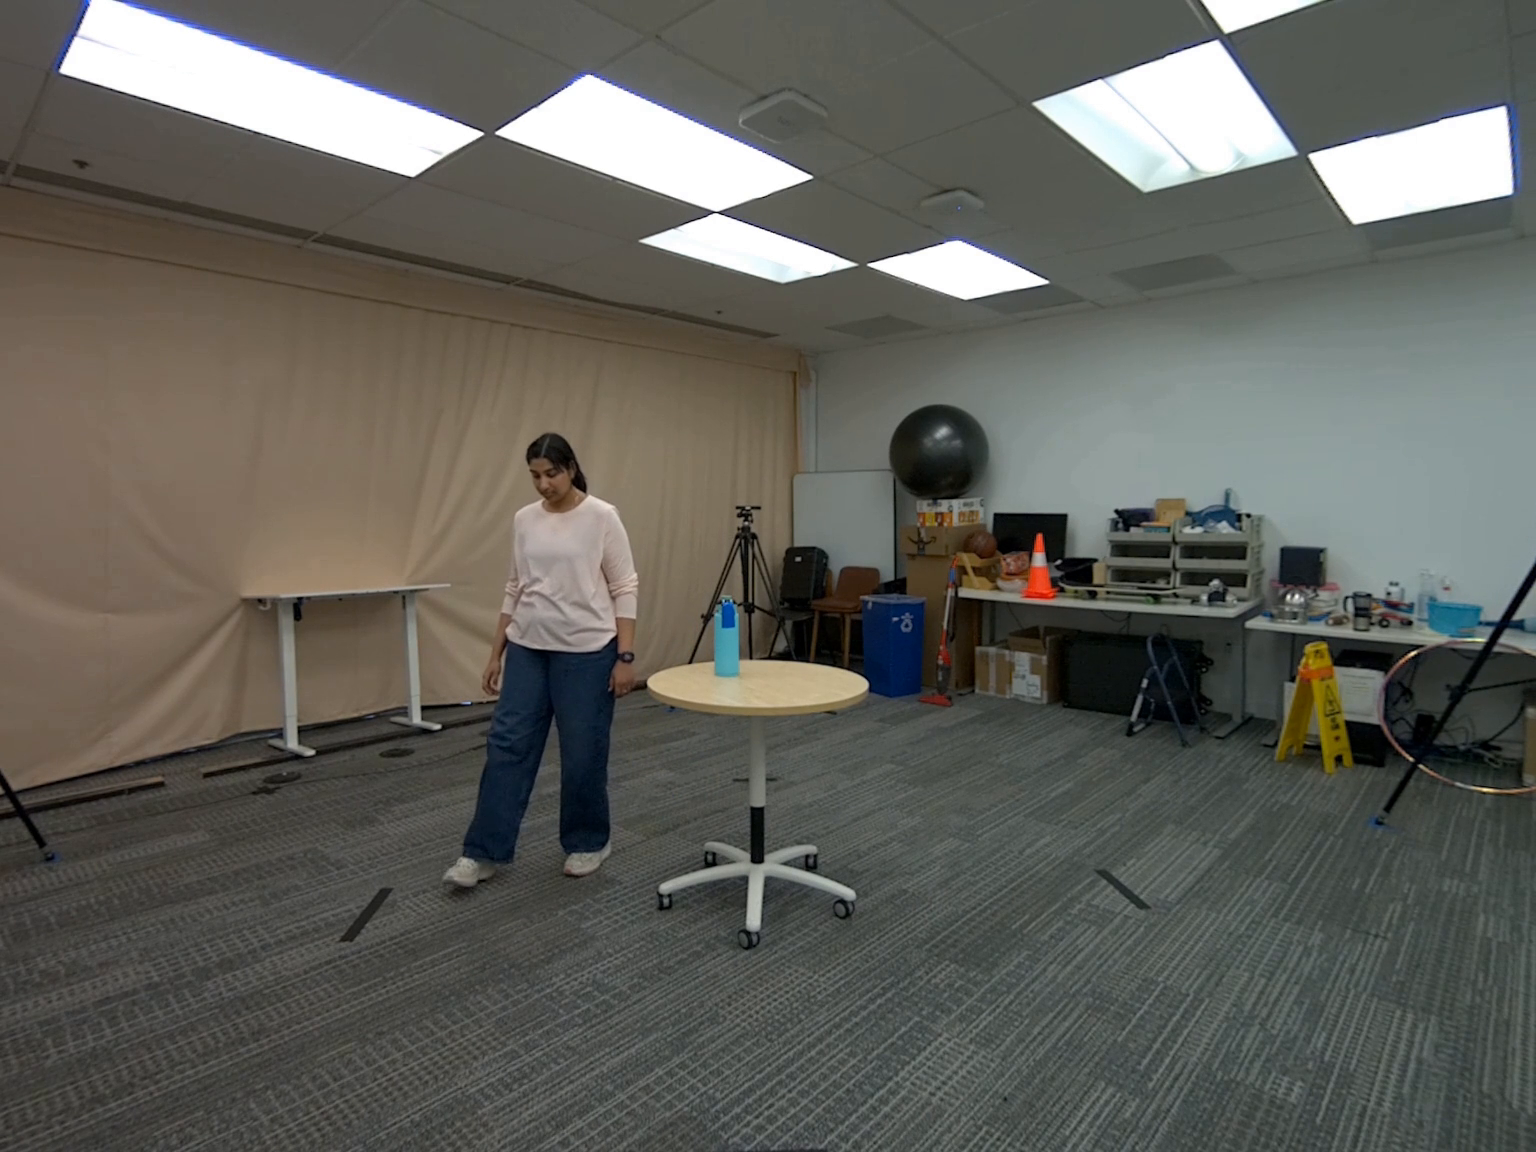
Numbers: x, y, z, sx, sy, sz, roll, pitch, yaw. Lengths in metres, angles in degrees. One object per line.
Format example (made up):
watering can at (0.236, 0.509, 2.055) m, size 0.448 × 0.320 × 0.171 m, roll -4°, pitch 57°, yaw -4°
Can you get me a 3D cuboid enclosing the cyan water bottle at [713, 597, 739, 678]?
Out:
cyan water bottle at (-0.141, 0.217, 3.026) m, size 0.092 × 0.282 × 0.093 m, roll 1°, pitch 4°, yaw -2°
